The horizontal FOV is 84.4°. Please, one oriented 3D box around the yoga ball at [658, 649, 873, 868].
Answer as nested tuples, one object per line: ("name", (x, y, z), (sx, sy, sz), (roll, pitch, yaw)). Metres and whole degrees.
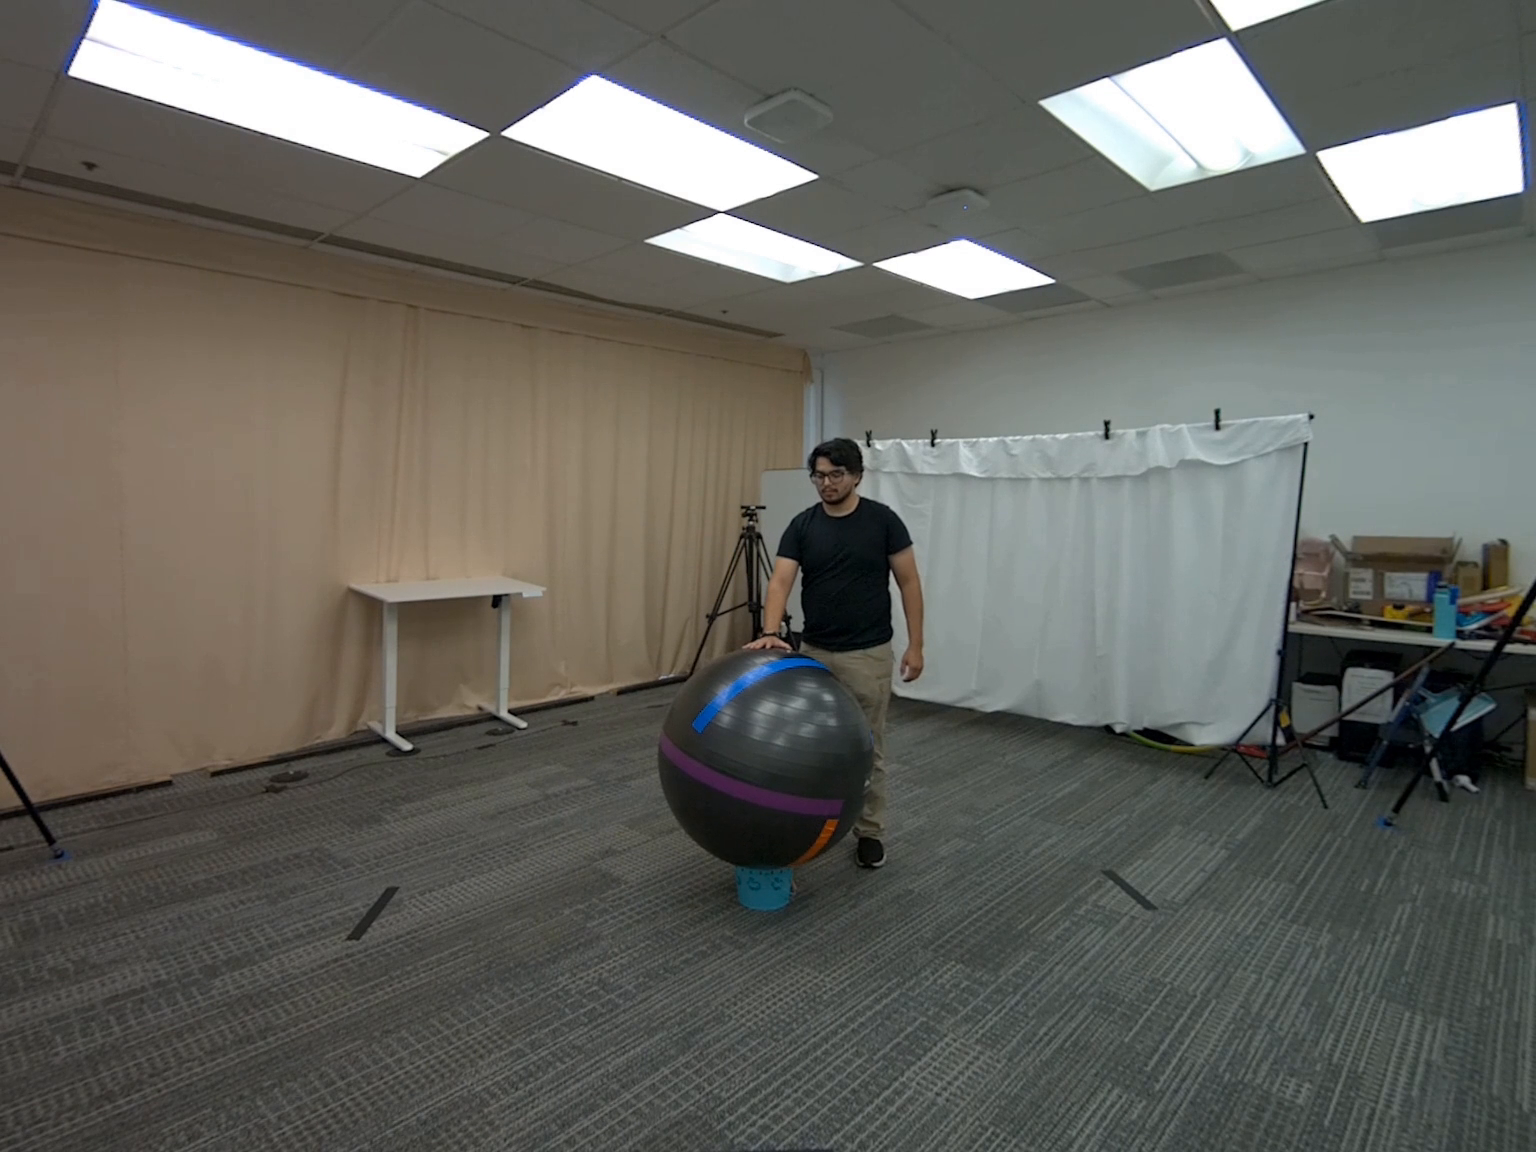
("yoga ball", (0.001, 0.638, 2.968), (0.757, 0.756, 0.760), (0, 4, -2))
